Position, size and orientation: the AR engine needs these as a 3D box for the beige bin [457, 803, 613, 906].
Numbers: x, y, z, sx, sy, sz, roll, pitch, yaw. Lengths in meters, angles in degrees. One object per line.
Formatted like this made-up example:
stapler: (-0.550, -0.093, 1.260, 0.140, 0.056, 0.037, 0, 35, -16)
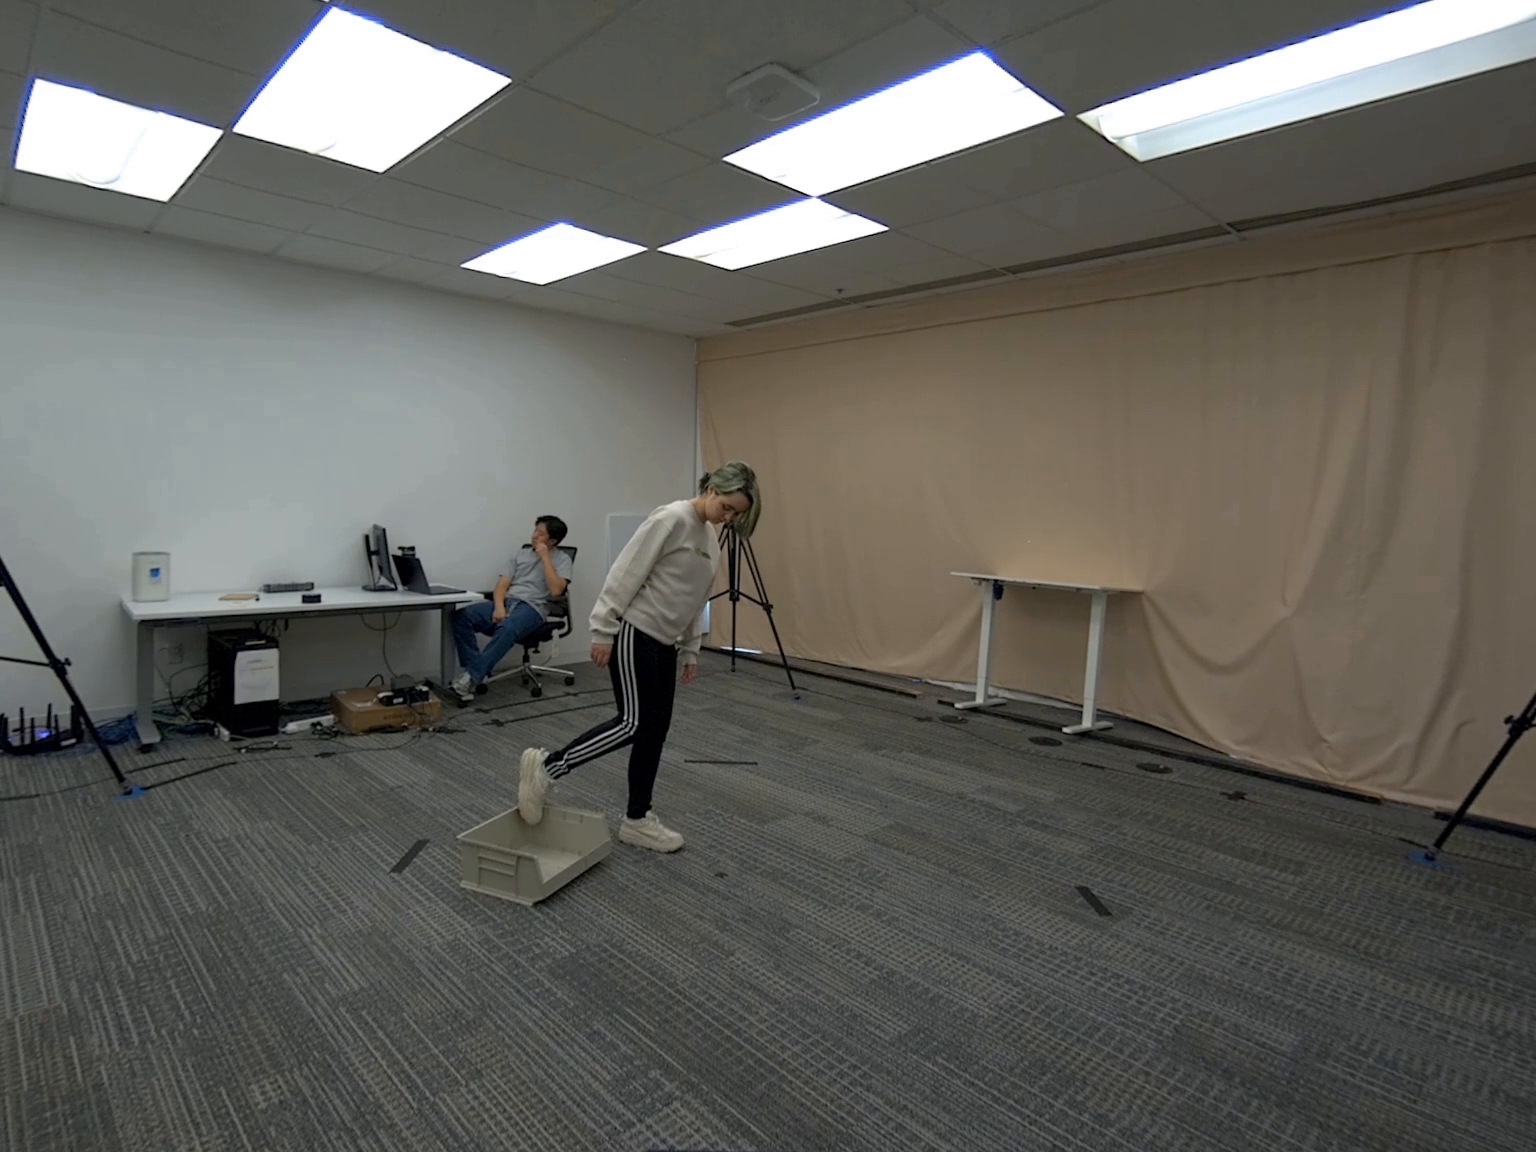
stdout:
beige bin: (-0.856, 1.003, 3.068, 0.384, 0.188, 0.416, 2, 5, 24)
